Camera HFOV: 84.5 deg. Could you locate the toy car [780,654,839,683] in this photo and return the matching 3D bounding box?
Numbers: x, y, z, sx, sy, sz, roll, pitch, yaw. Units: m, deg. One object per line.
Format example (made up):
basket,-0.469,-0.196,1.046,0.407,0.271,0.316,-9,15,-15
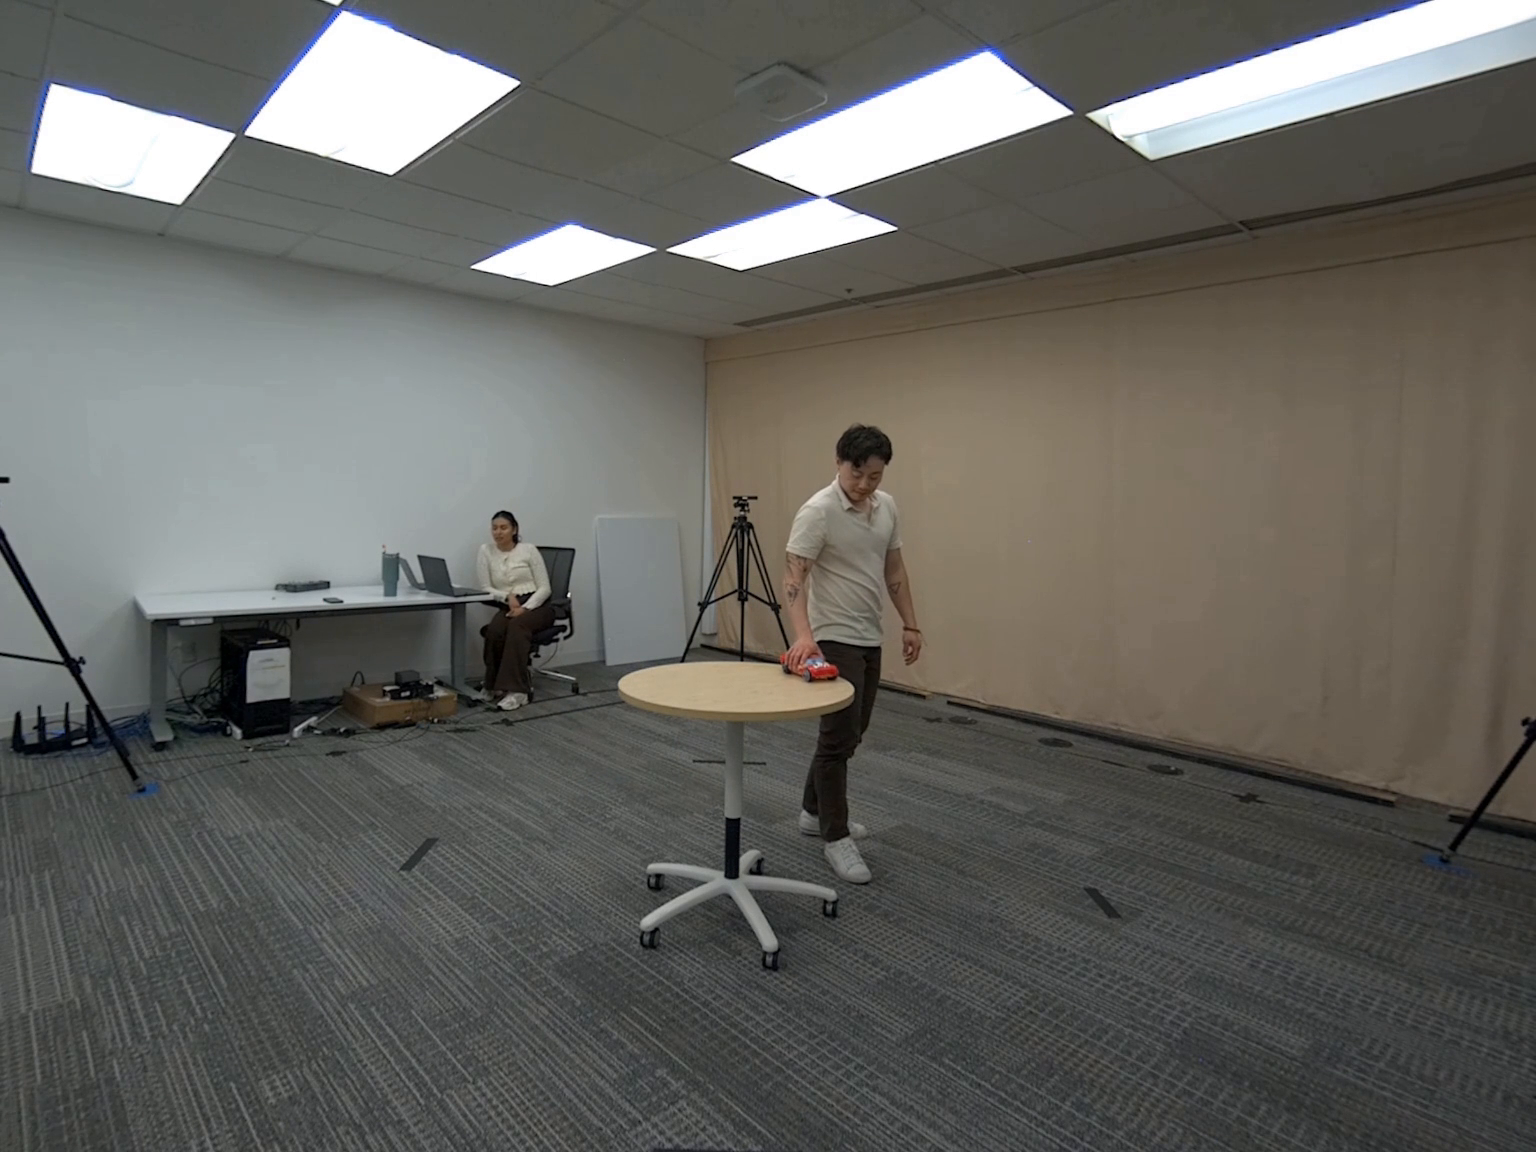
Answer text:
toy car,0.122,0.314,2.905,0.128,0.082,0.261,-2,17,-26
